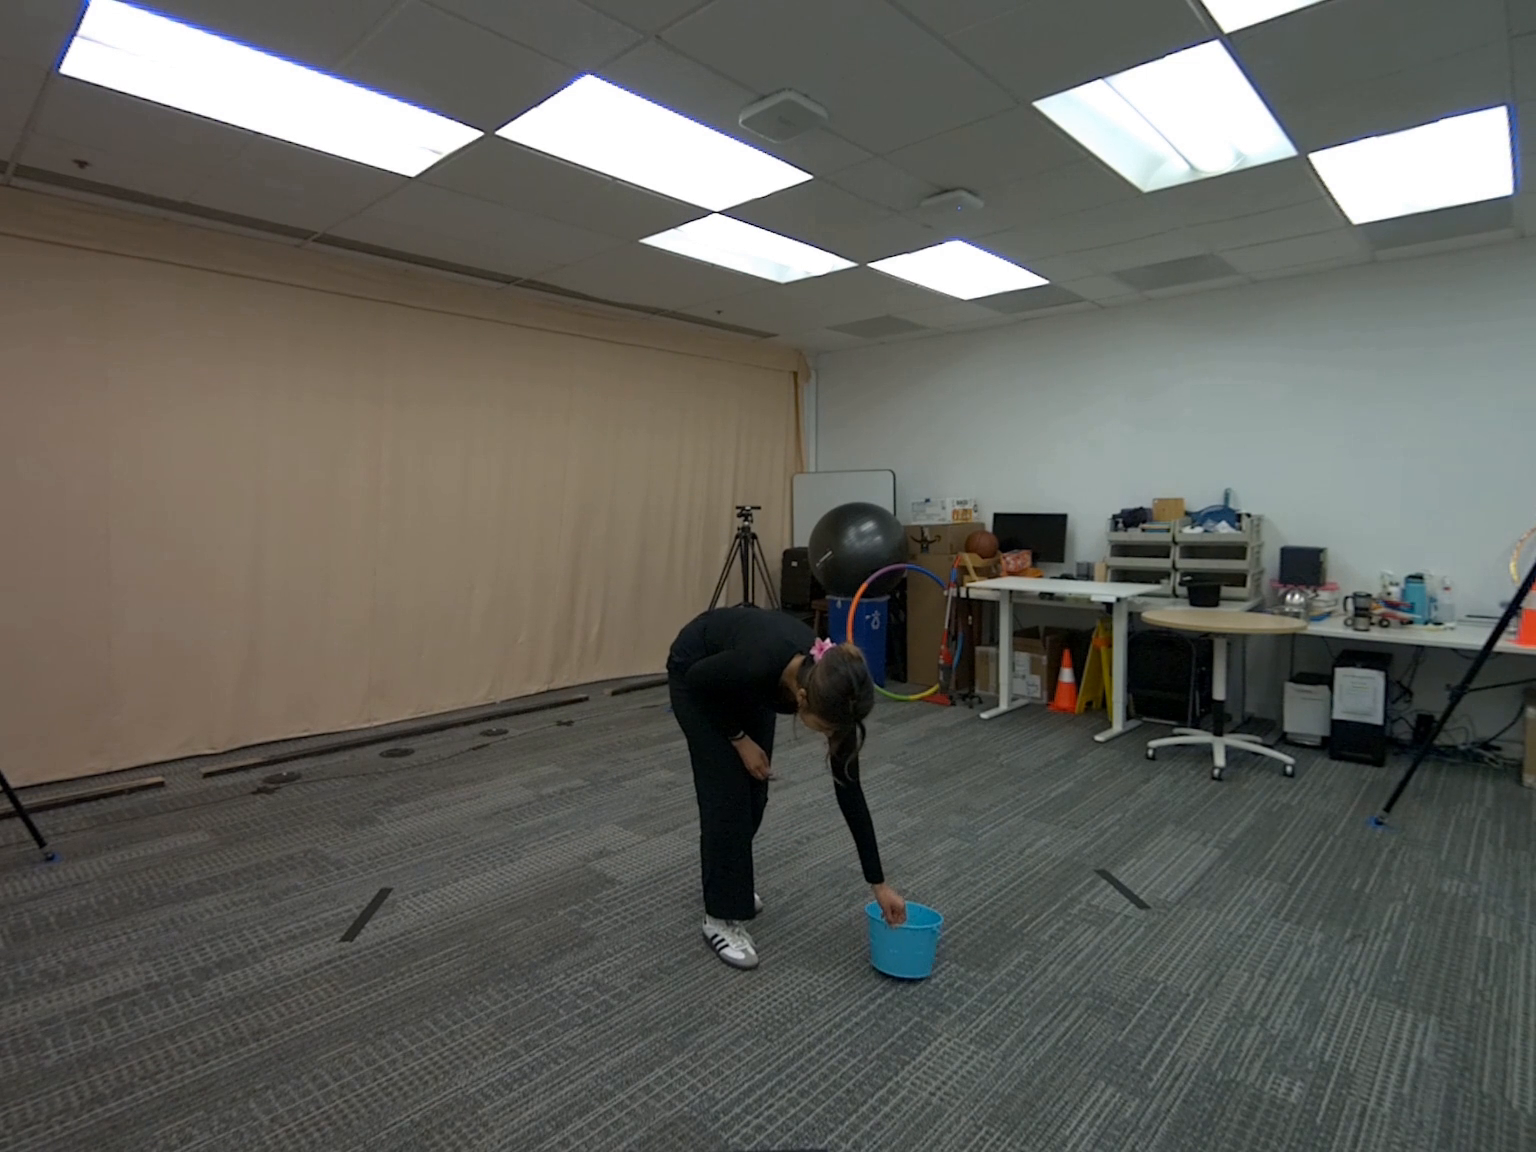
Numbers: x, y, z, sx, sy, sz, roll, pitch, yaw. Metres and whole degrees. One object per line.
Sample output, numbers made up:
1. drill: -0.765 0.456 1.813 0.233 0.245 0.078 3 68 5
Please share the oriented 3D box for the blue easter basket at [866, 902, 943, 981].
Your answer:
1. blue easter basket: 0.415 1.095 2.529 0.243 0.156 0.243 3 -2 -2
